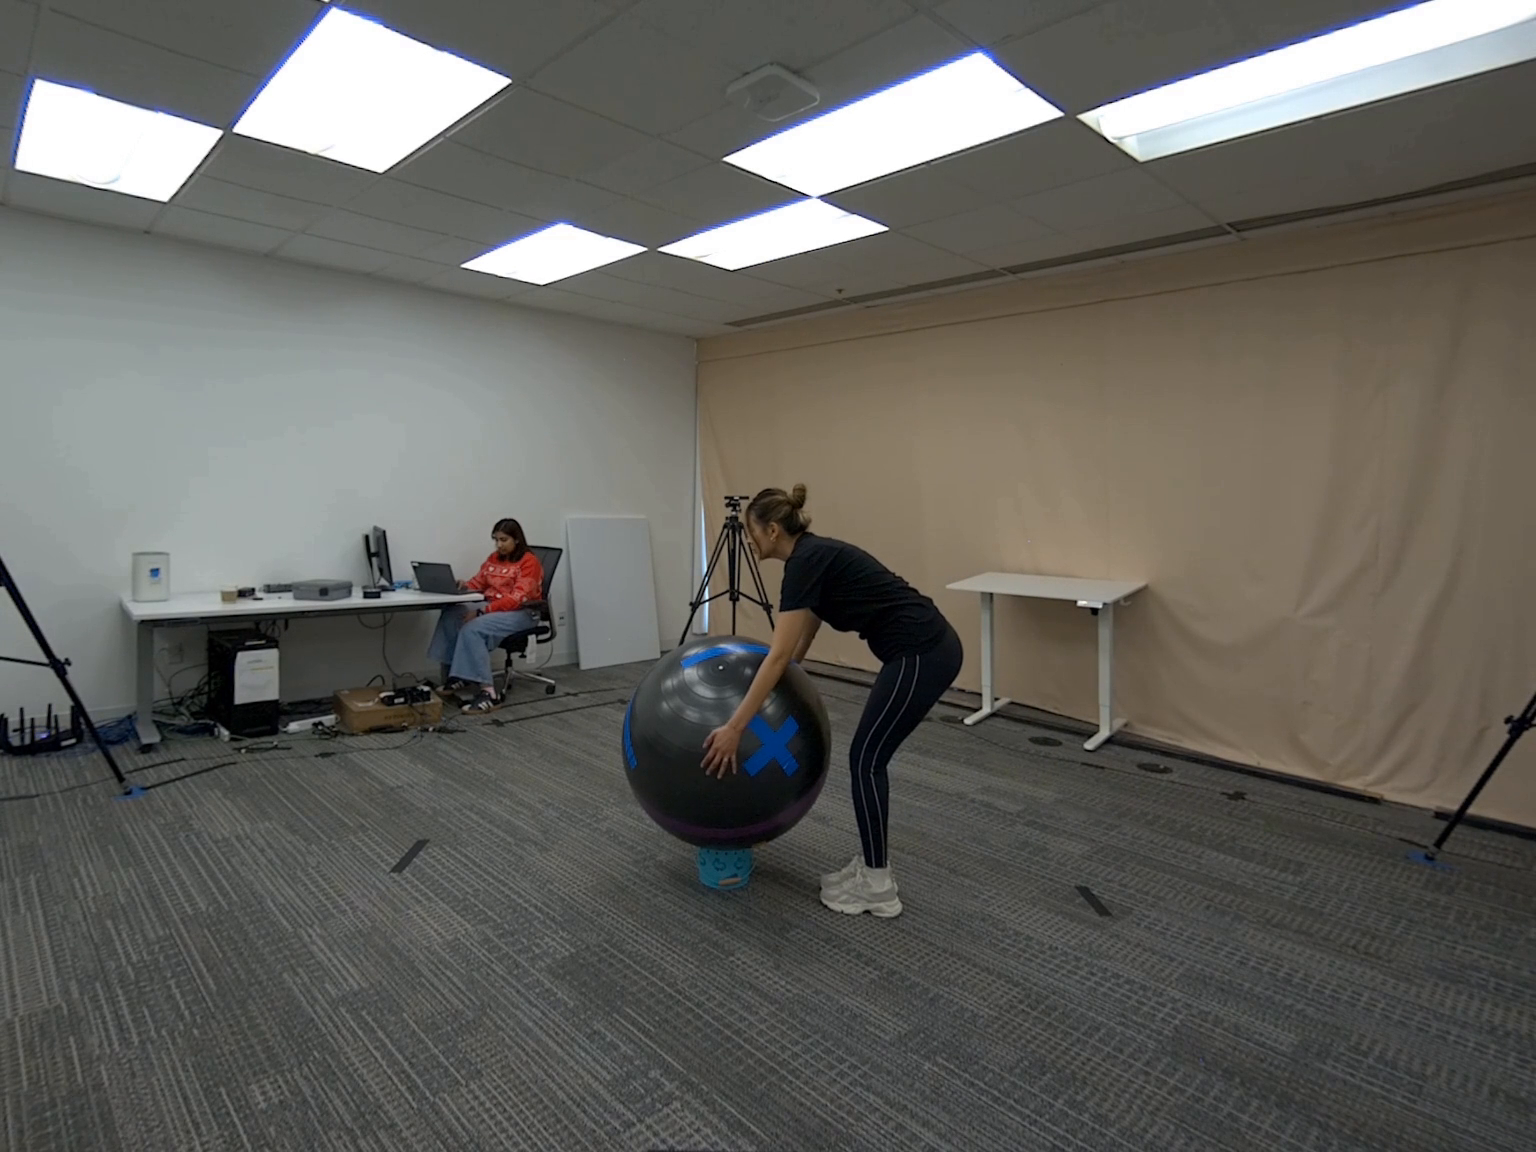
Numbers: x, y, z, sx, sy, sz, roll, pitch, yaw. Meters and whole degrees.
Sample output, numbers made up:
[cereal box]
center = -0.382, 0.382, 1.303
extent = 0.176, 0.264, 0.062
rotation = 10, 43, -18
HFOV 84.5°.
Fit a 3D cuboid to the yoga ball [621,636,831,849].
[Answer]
[yoga ball]
center = -0.150, 0.597, 3.051
extent = 0.757, 0.756, 0.761
rotation = 1, 4, -1
